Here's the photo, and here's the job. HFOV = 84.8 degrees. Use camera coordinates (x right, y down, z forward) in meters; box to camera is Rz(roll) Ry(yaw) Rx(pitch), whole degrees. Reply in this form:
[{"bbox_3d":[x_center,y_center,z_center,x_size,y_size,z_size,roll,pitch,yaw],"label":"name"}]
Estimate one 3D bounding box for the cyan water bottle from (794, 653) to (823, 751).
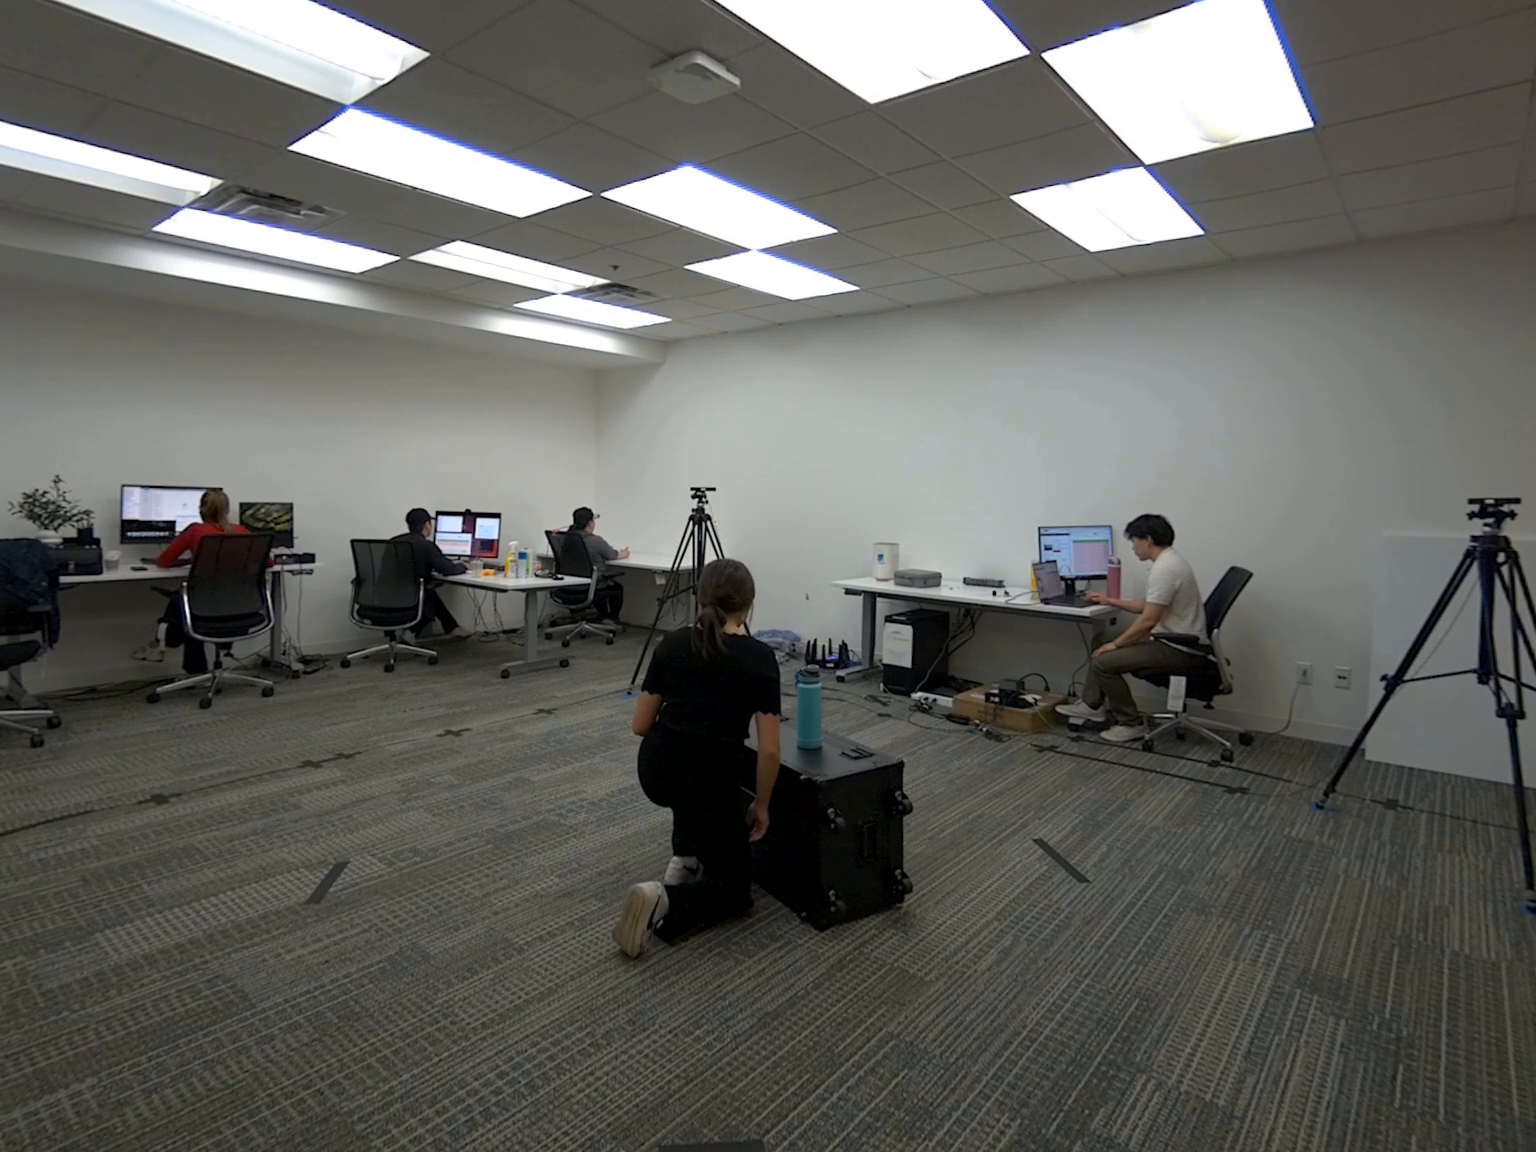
[{"bbox_3d":[0.138,0.455,2.998,0.092,0.282,0.093,-2,3,-2],"label":"cyan water bottle"}]
